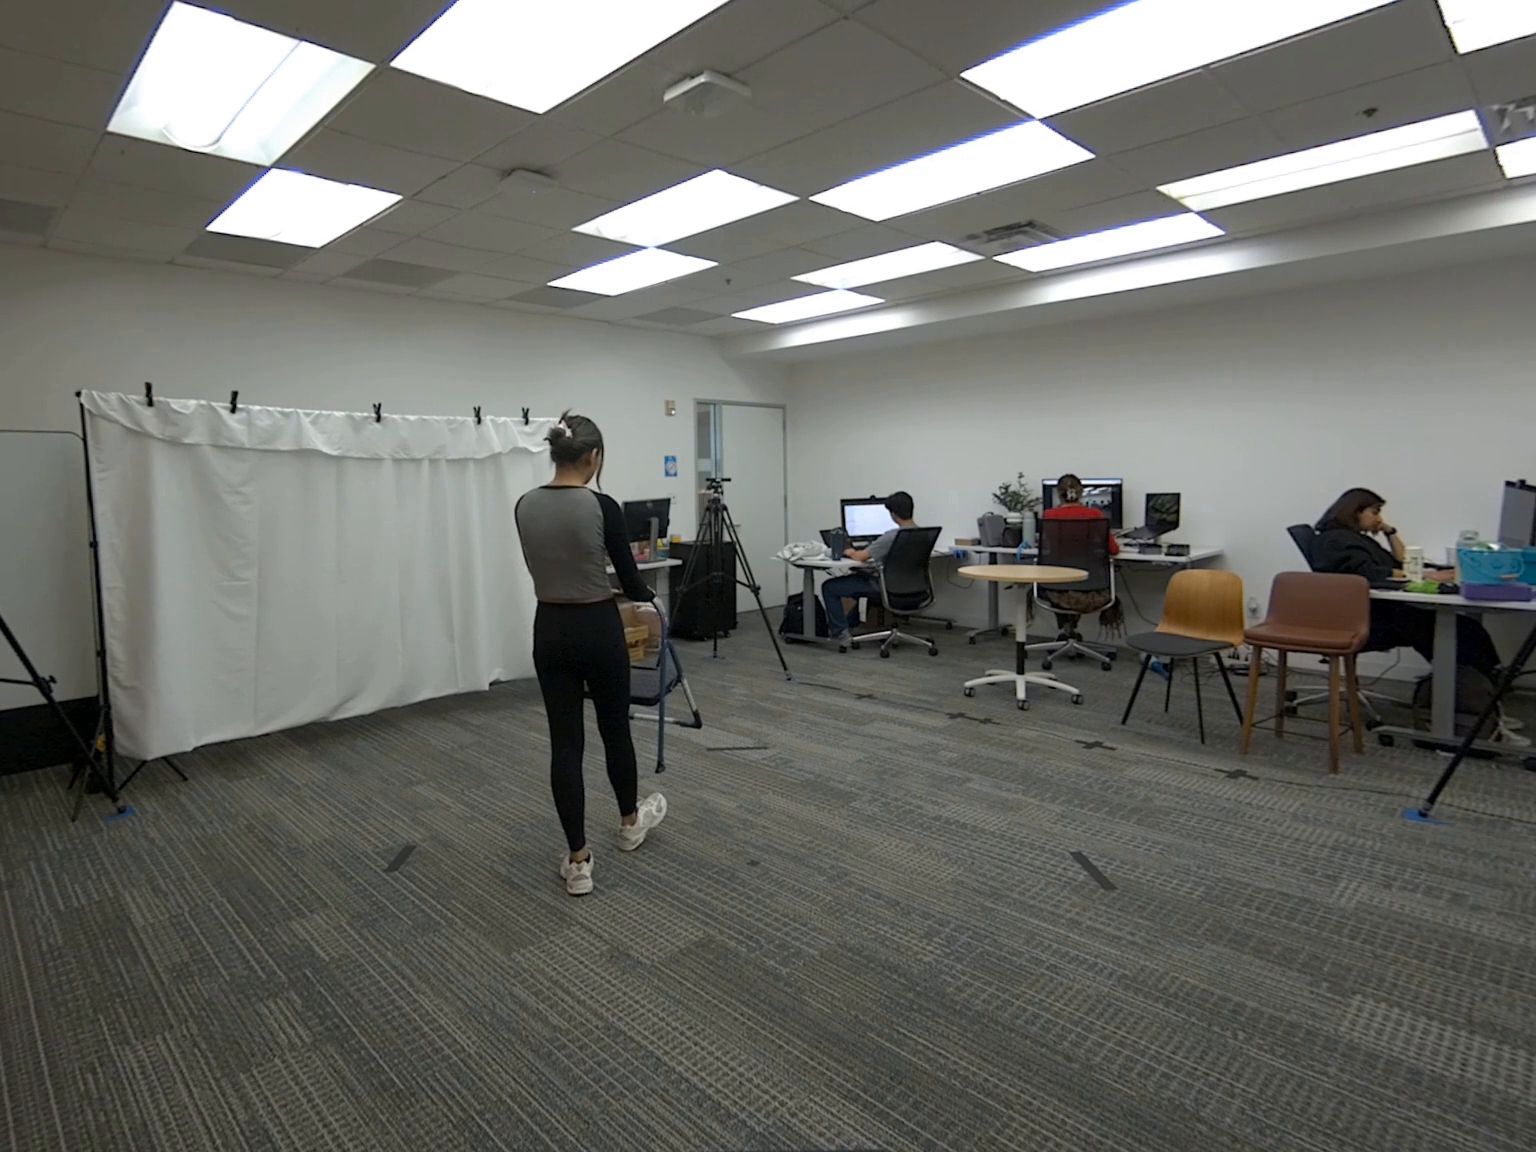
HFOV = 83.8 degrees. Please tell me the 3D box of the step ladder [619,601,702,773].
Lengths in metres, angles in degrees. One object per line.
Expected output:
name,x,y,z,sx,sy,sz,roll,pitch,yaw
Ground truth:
step ladder,-0.548,0.373,3.298,0.441,0.596,0.346,2,18,27
